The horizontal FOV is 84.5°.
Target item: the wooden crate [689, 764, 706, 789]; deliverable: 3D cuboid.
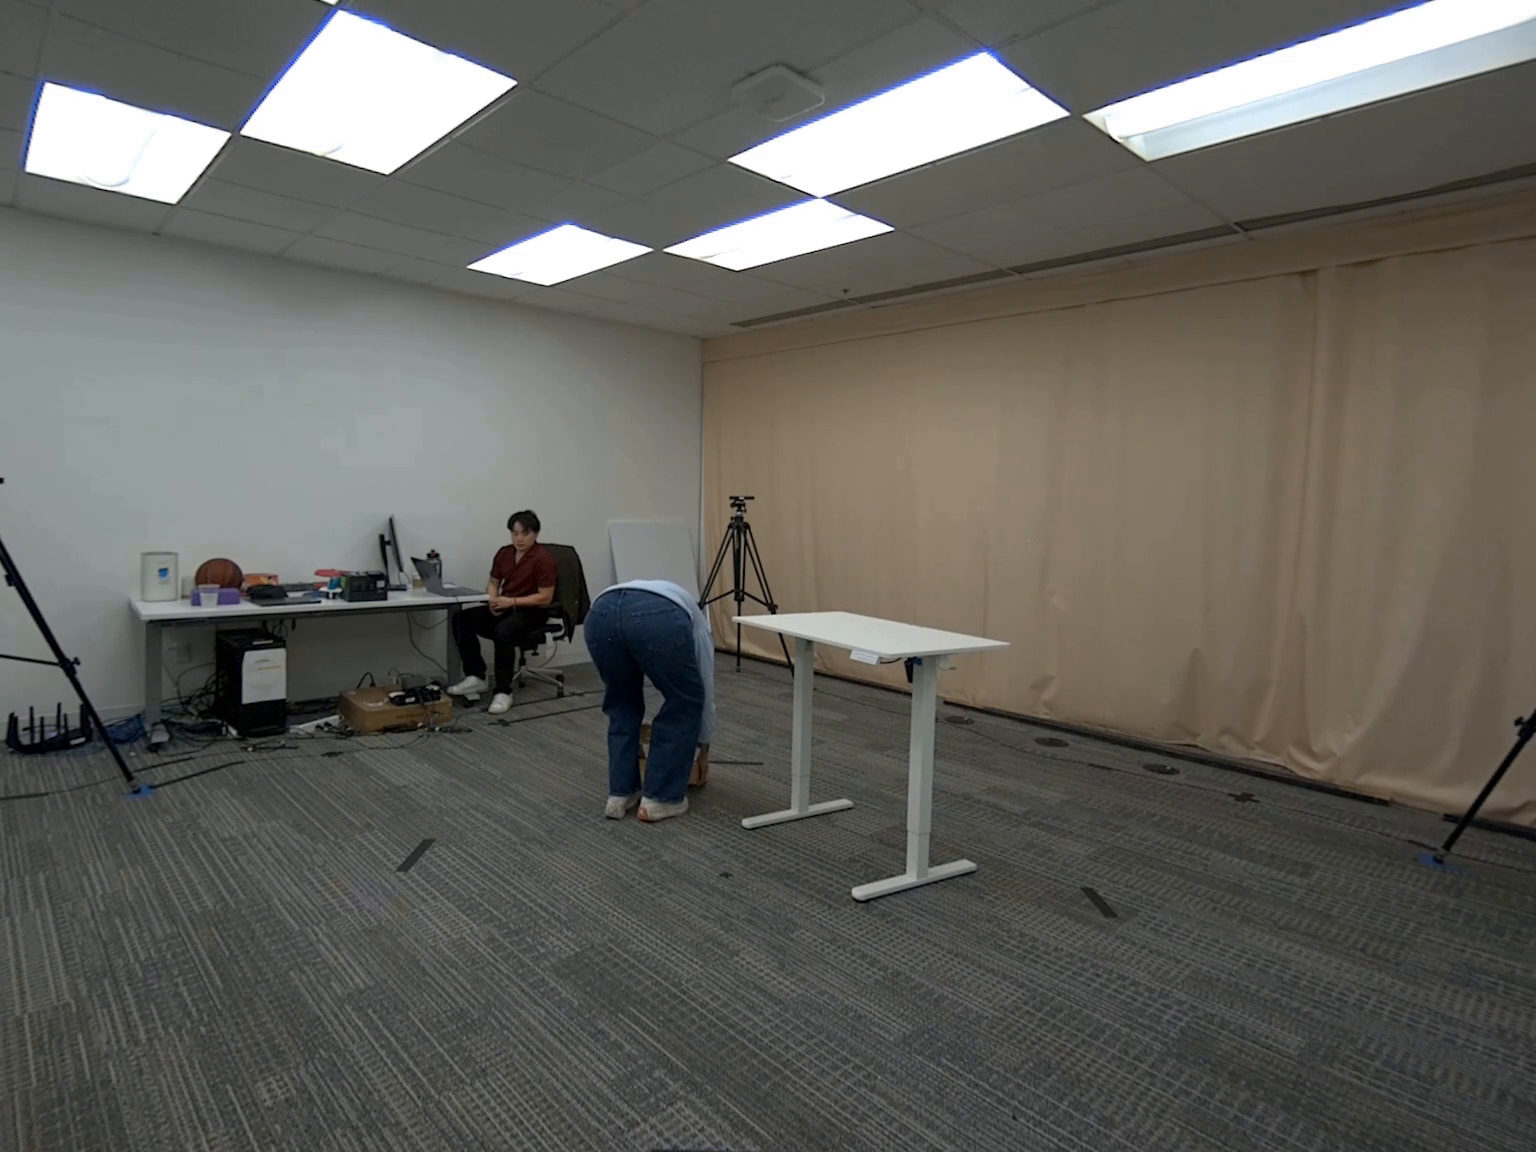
[{"bbox_3d":[-0.467,0.851,4.081,0.327,0.275,0.297,2,-8,10],"label":"wooden crate"}]
